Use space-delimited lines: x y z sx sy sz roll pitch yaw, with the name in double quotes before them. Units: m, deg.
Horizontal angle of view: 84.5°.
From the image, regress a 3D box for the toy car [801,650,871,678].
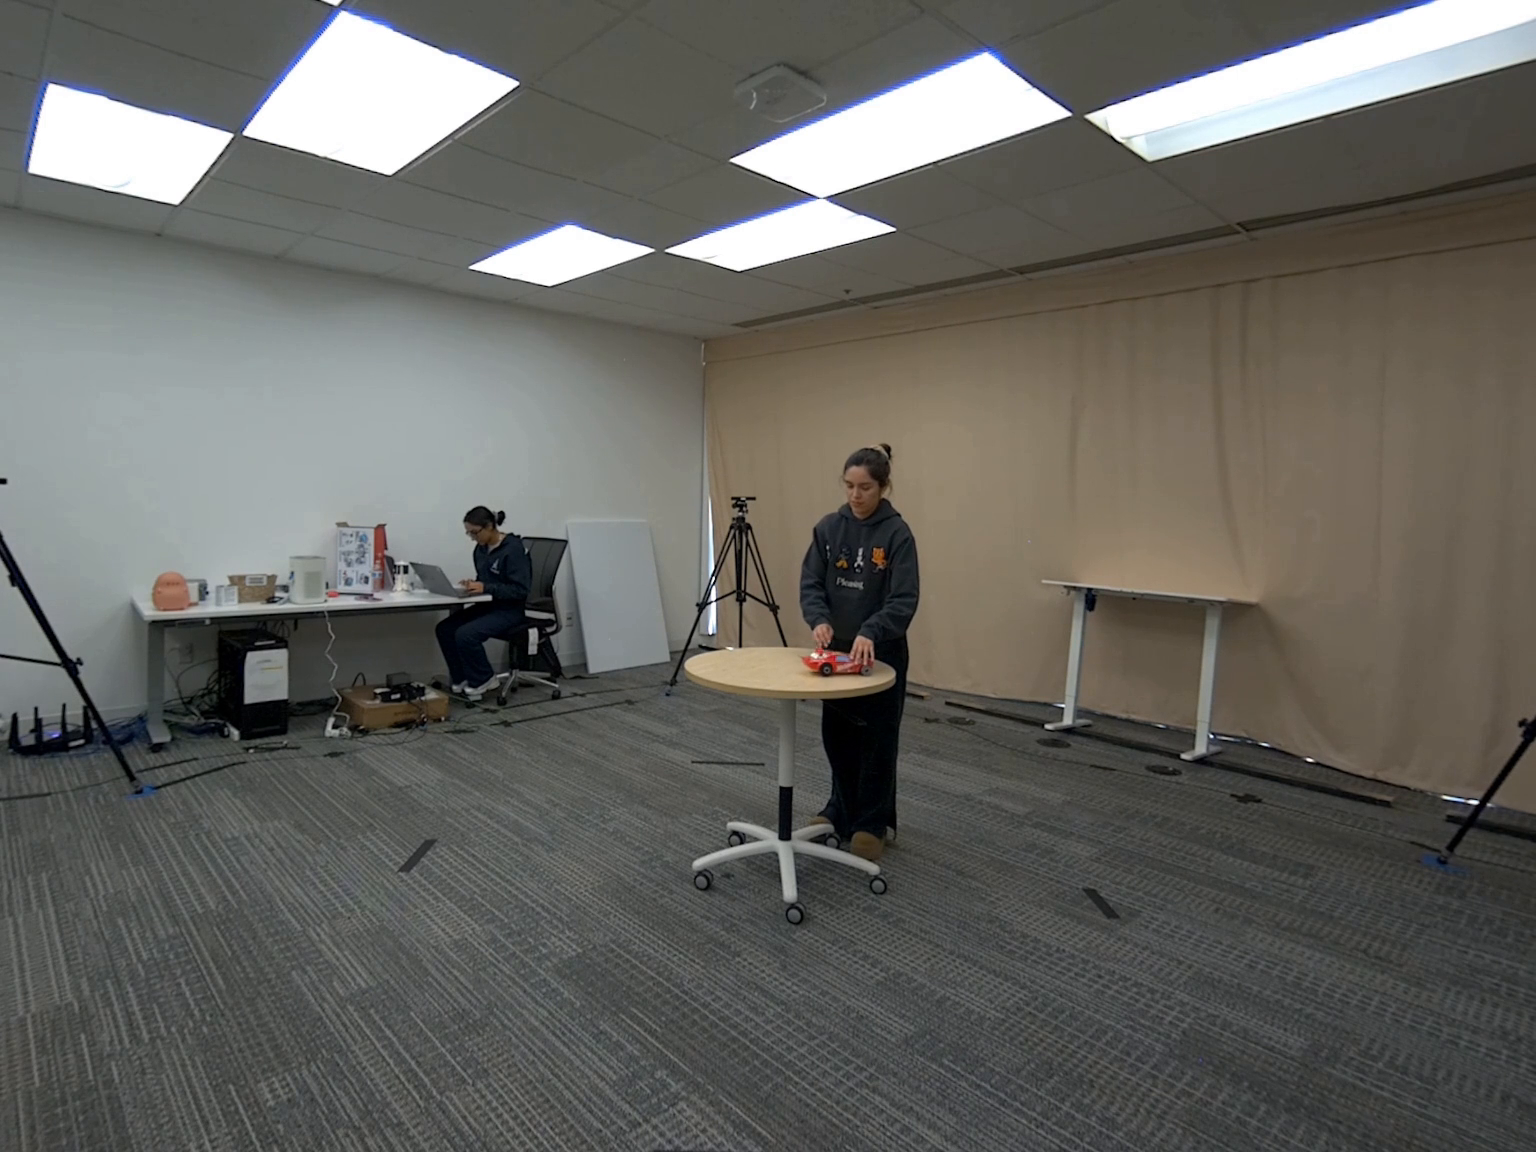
"toy car" 0.229 0.316 2.981 0.252 0.083 0.132 13 3 -12
